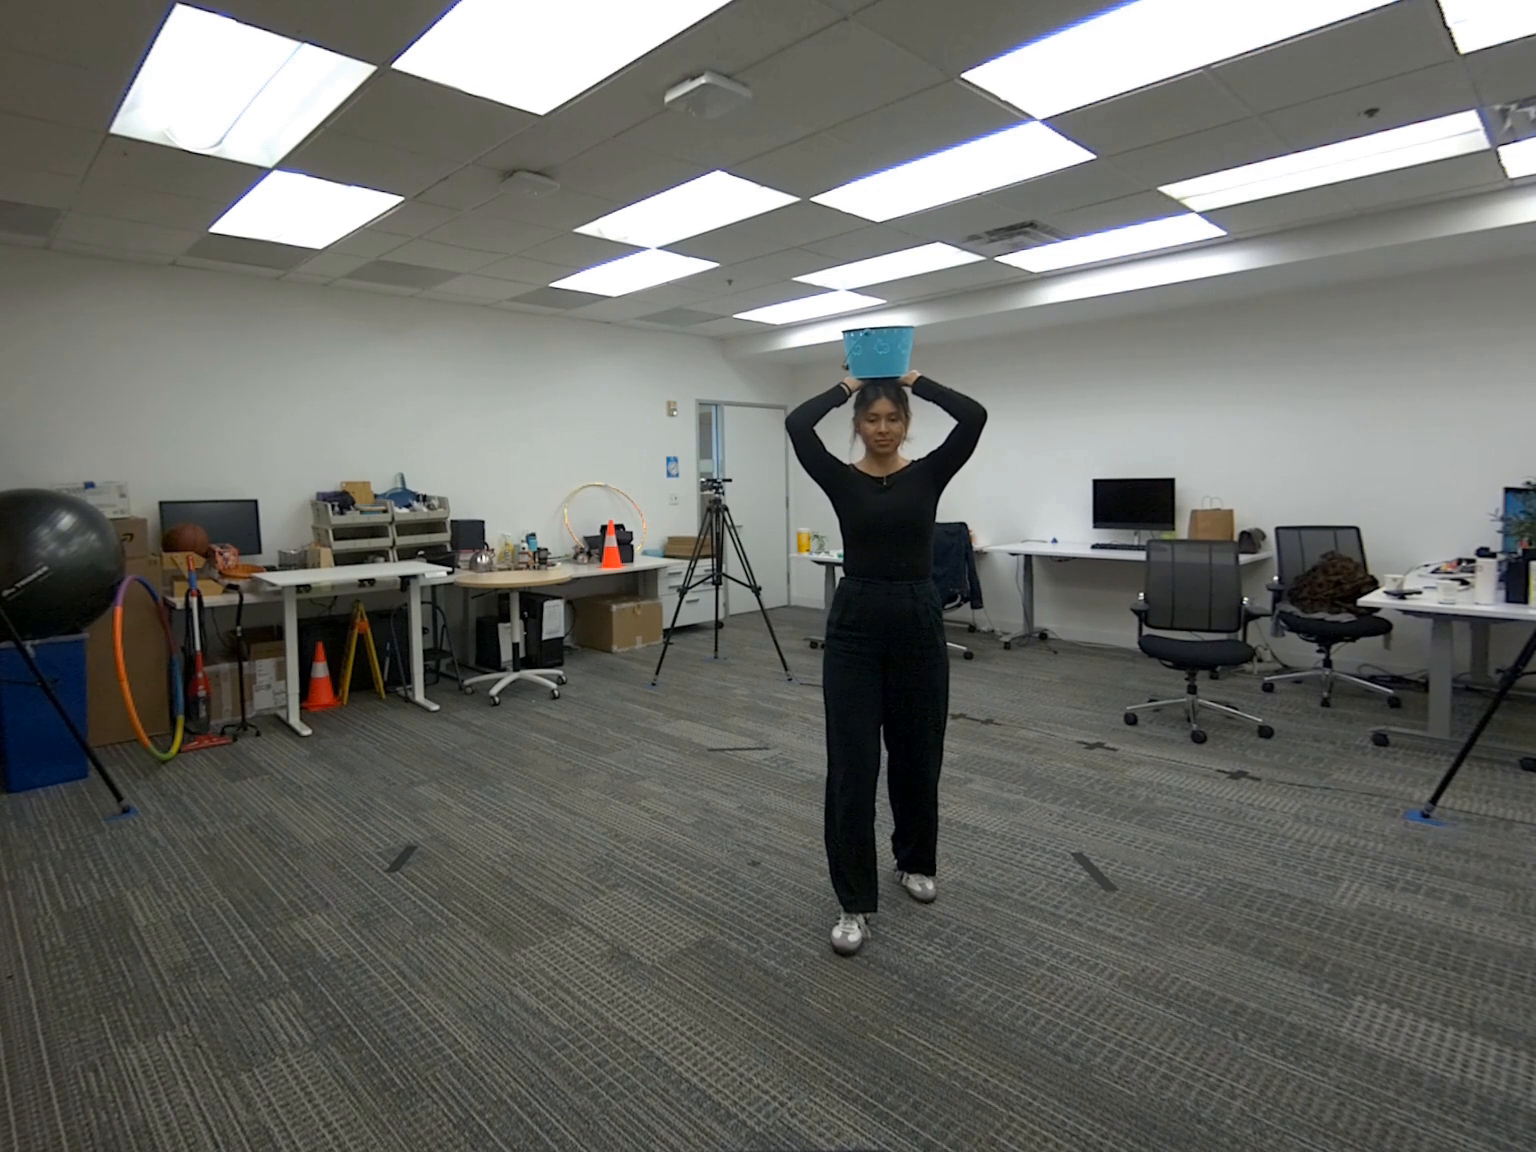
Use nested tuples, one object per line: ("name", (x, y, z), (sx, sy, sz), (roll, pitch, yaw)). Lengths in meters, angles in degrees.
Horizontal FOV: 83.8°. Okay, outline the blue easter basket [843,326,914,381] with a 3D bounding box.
("blue easter basket", (0.356, -0.712, 2.715), (0.243, 0.154, 0.246), (-4, 13, -1))
